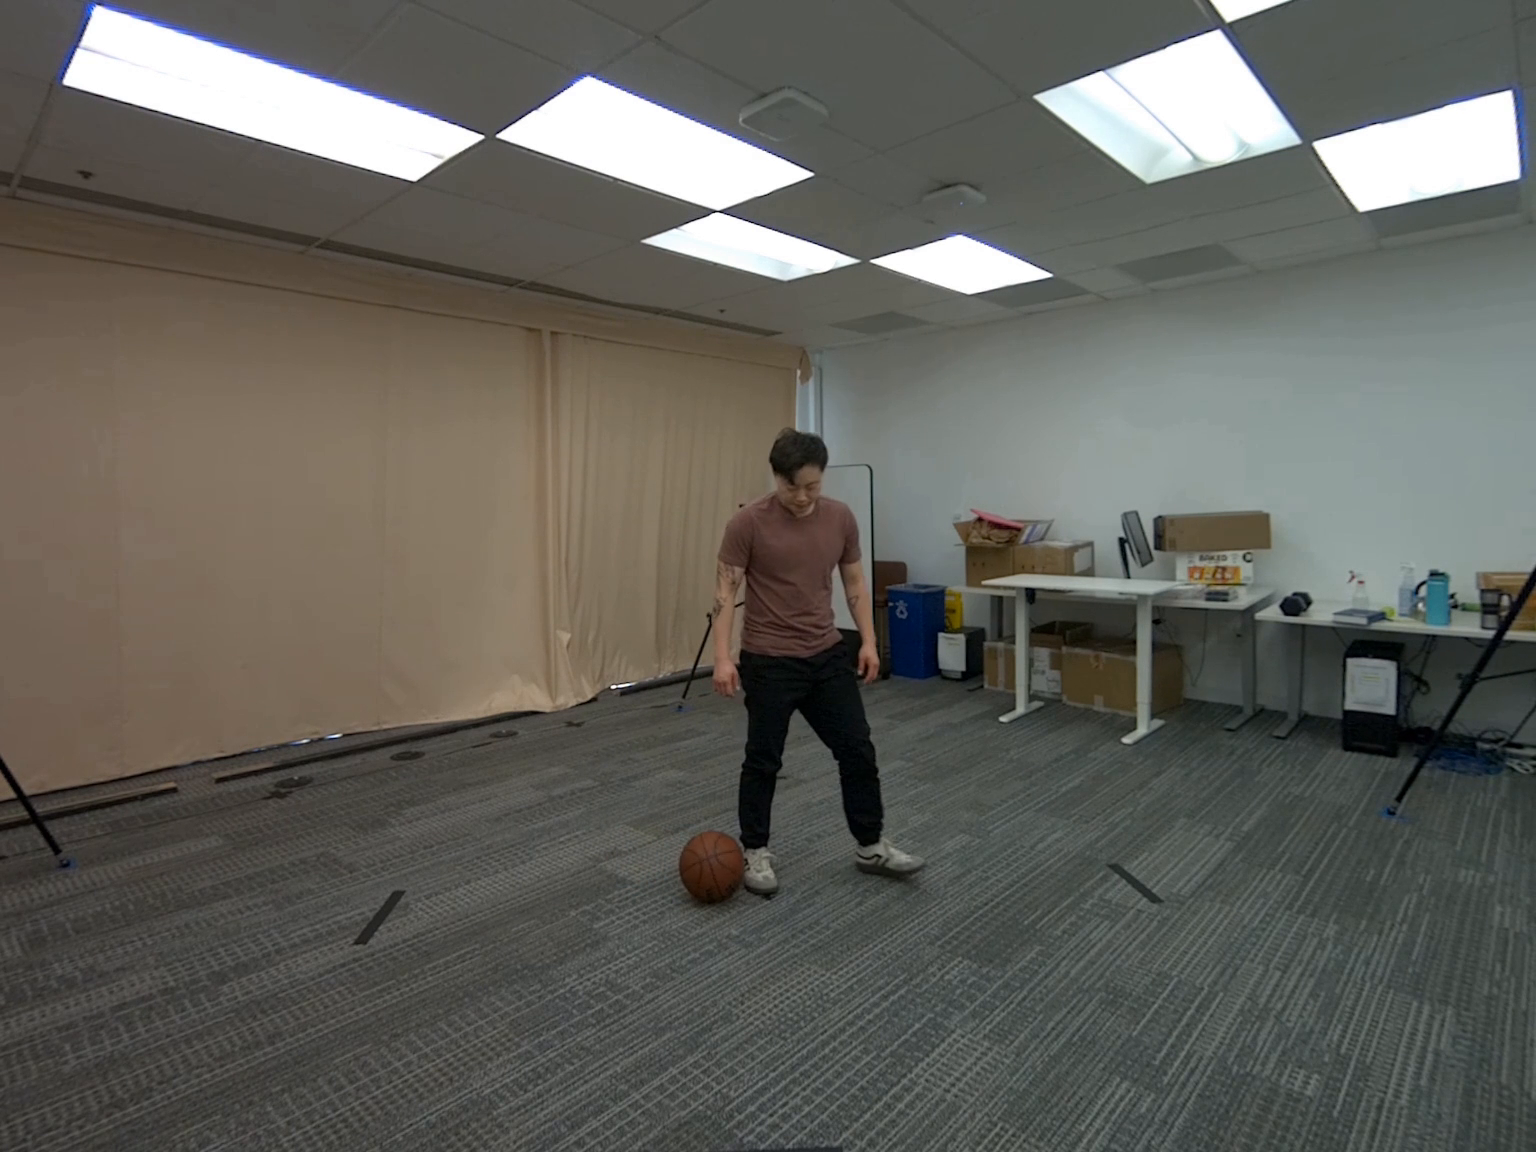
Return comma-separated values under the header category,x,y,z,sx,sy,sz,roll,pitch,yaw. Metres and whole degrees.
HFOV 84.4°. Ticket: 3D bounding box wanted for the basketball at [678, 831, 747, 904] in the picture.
category,x,y,z,sx,sy,sz,roll,pitch,yaw
basketball,-0.199,1.027,2.978,0.236,0.235,0.237,-1,4,-2
